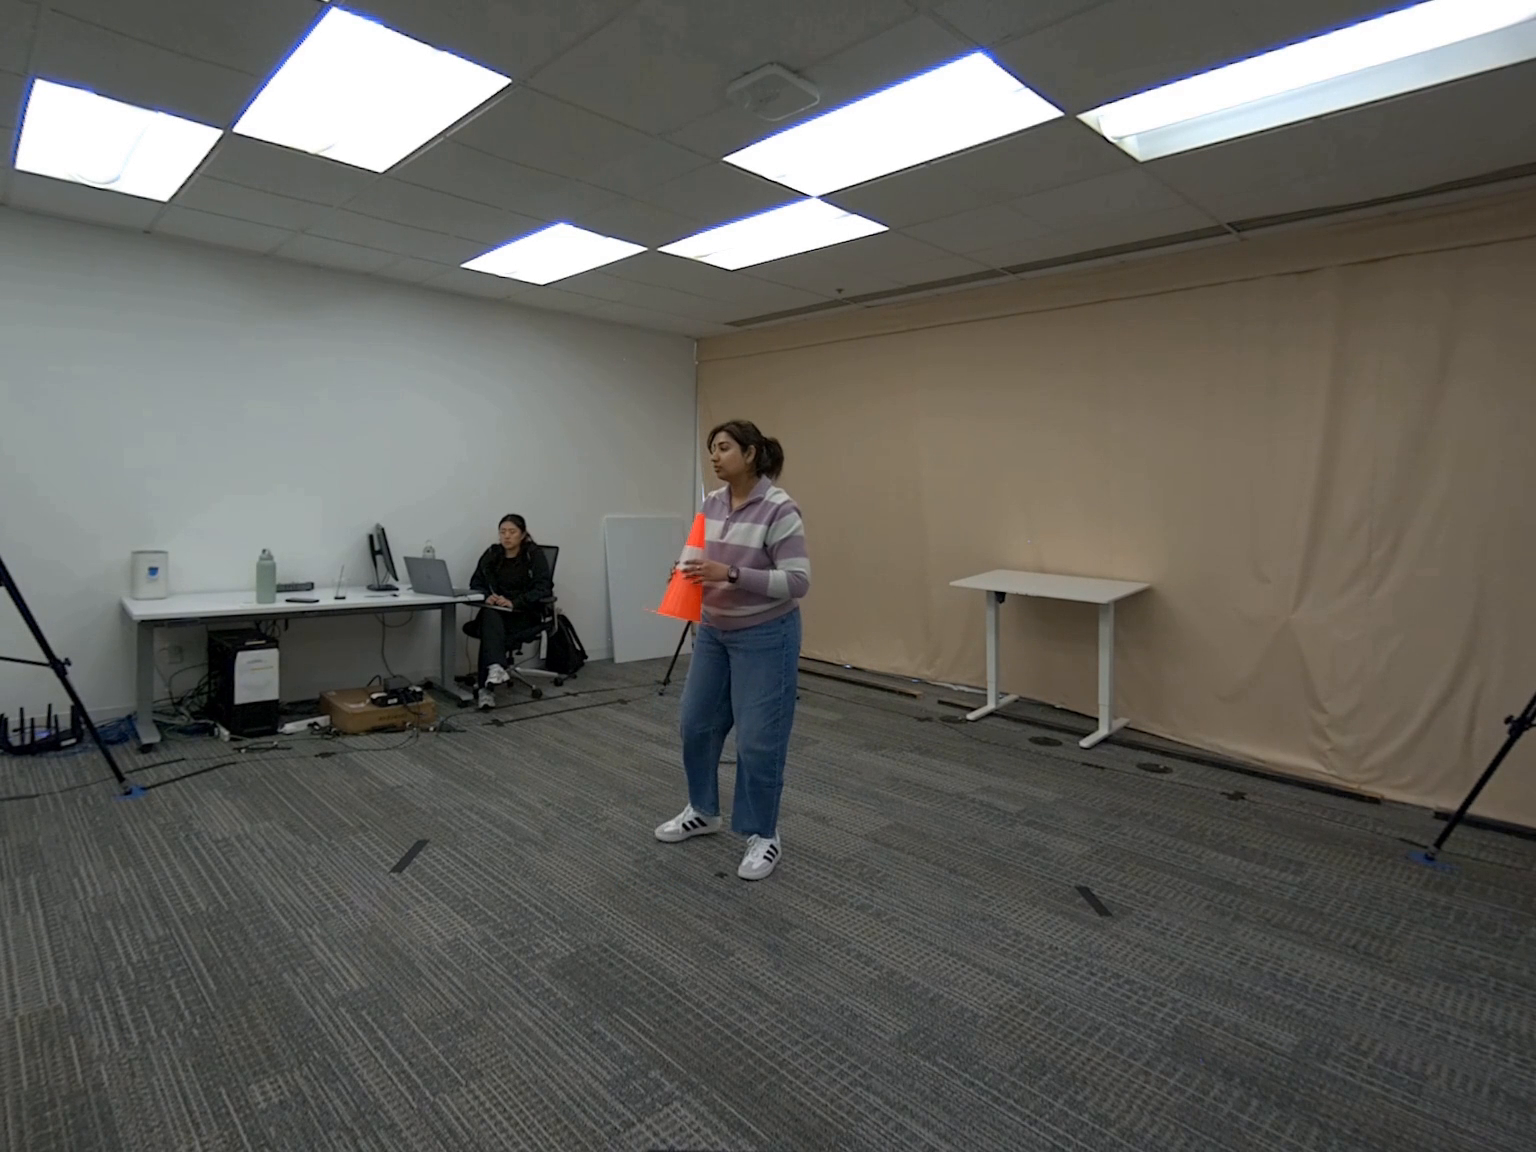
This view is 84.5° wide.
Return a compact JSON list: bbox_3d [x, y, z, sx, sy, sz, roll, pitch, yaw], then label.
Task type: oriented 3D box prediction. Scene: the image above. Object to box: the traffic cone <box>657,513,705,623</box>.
[{"bbox_3d":[-0.298,-0.033,3.036,0.210,0.385,0.197,5,-7,39],"label":"traffic cone"}]
